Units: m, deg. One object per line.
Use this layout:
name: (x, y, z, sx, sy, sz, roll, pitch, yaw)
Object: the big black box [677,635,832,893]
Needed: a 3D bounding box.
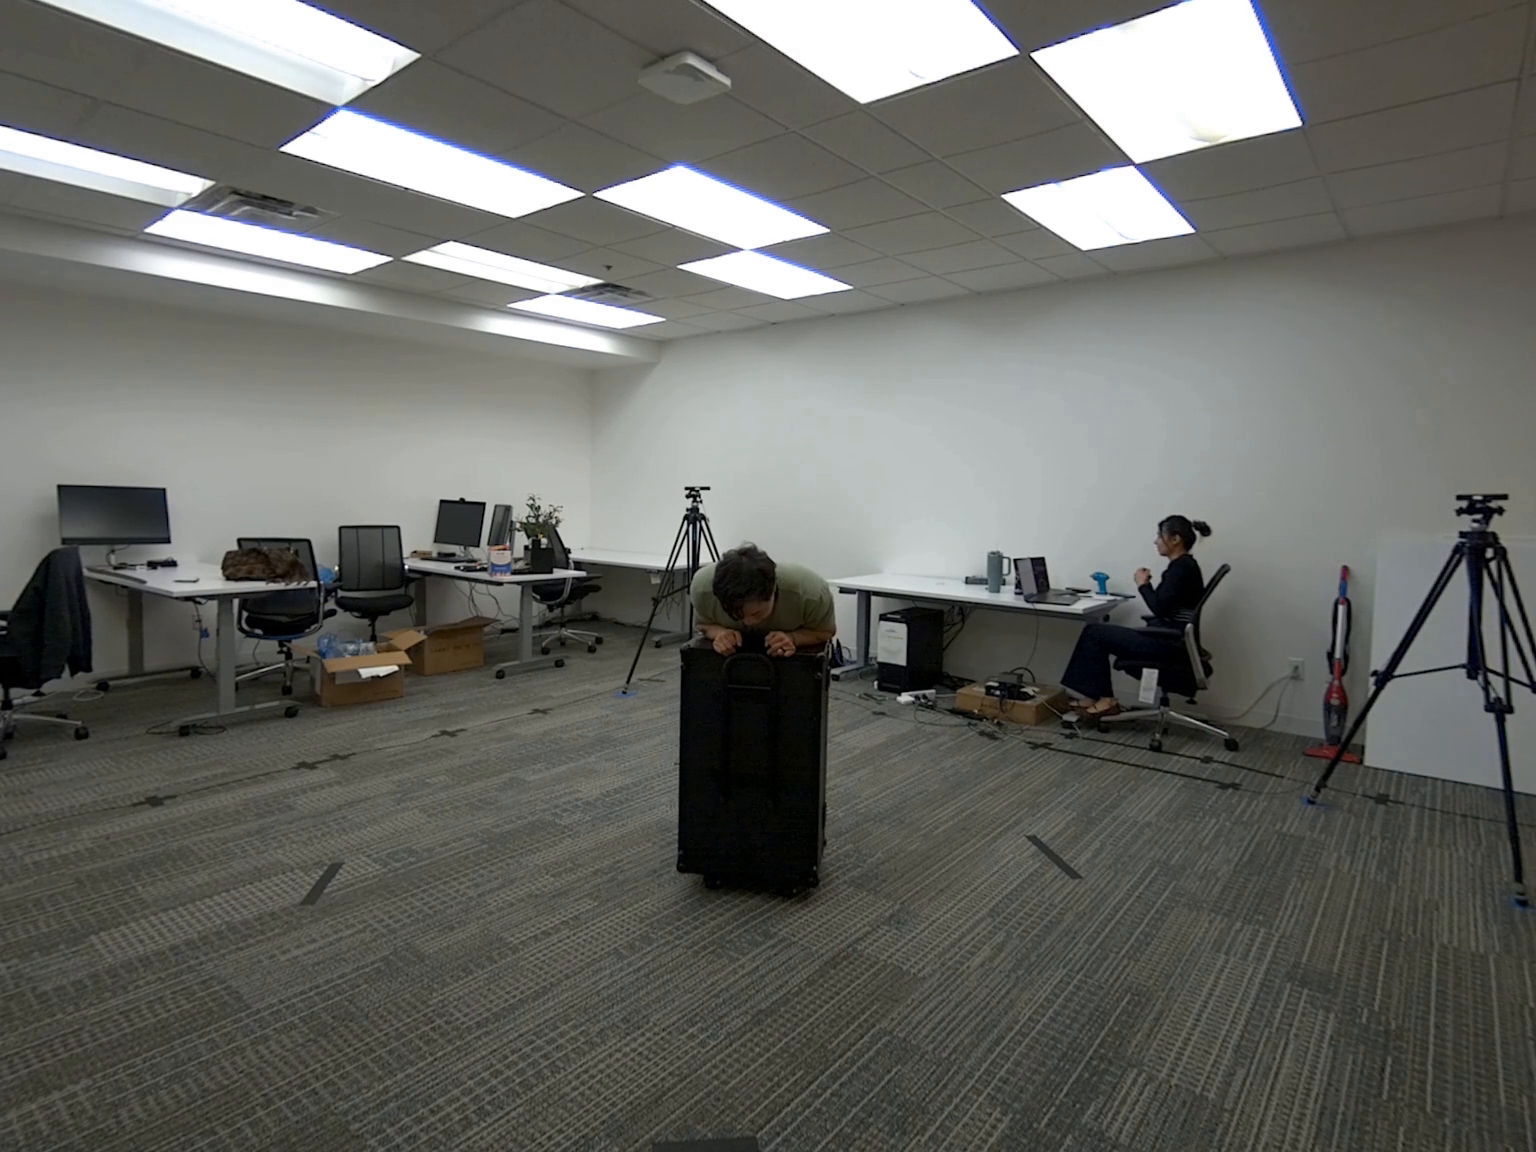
big black box: (-0.051, 0.662, 3.009, 0.528, 0.858, 0.393, 2, 4, 11)
